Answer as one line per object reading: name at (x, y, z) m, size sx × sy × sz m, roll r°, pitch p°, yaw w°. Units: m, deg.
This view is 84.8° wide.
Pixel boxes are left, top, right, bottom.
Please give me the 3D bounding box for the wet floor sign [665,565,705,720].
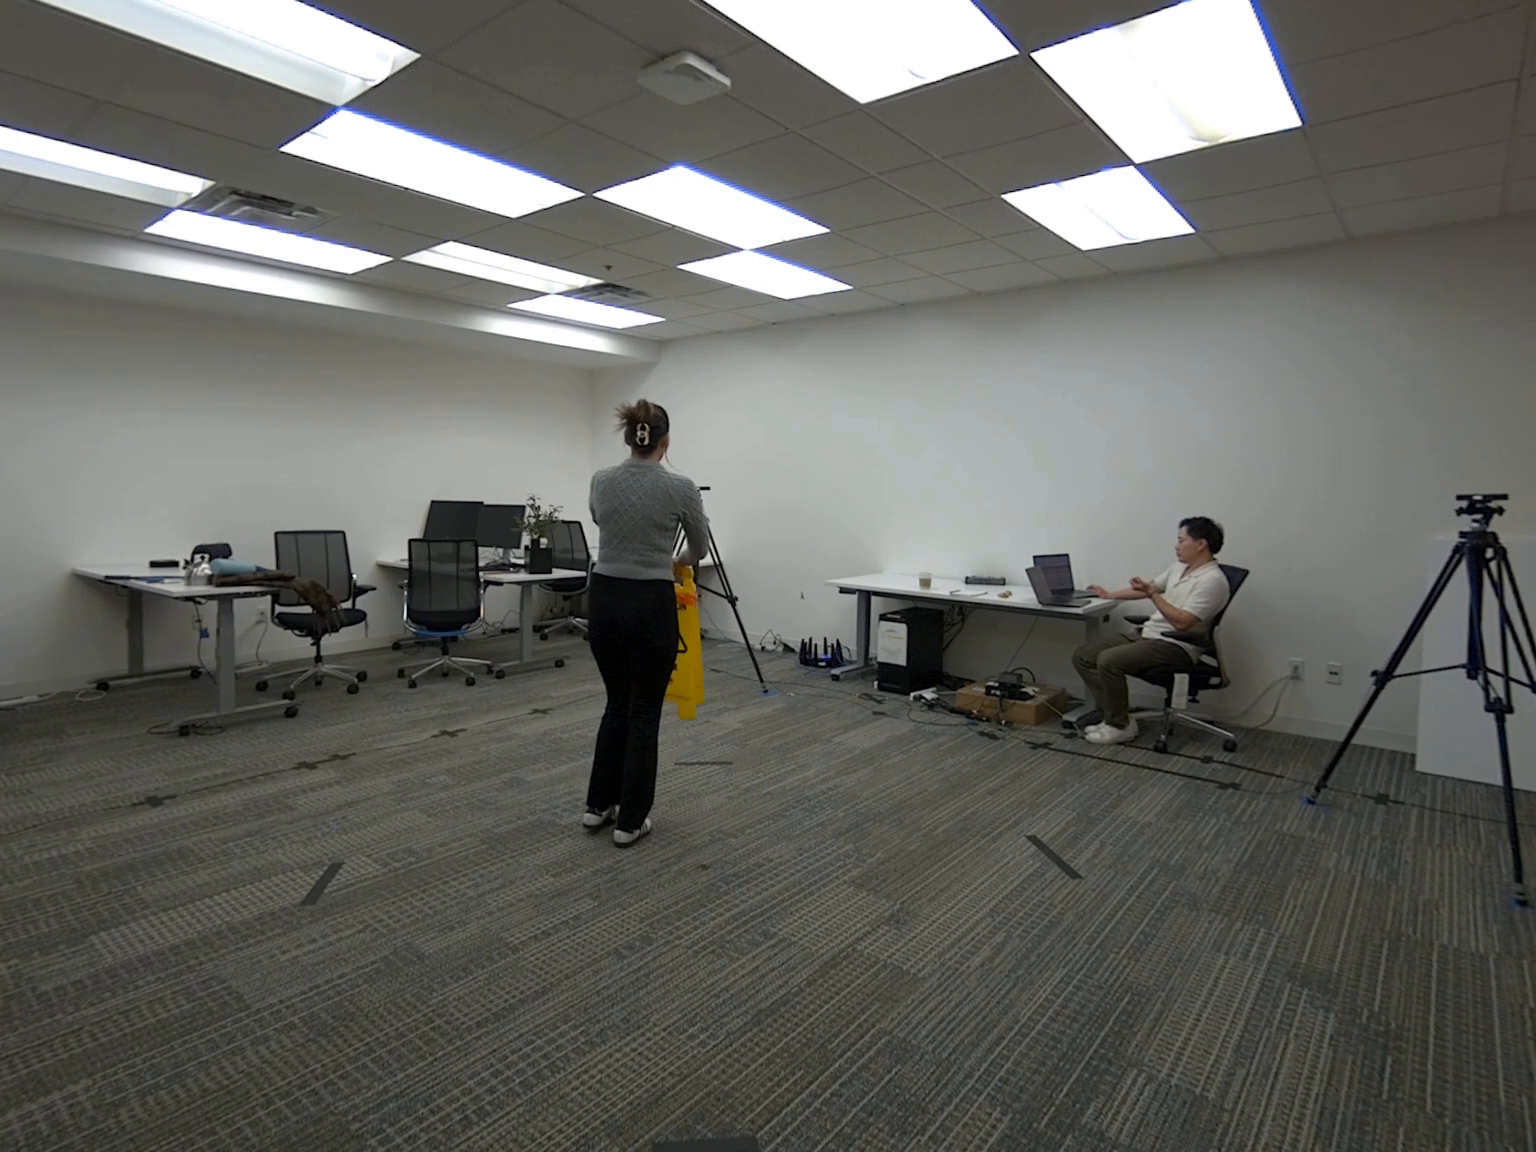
wet floor sign at (-0.446, 0.272, 3.782) m, size 0.284 × 0.644 × 0.288 m, roll 2°, pitch 3°, yaw 5°
